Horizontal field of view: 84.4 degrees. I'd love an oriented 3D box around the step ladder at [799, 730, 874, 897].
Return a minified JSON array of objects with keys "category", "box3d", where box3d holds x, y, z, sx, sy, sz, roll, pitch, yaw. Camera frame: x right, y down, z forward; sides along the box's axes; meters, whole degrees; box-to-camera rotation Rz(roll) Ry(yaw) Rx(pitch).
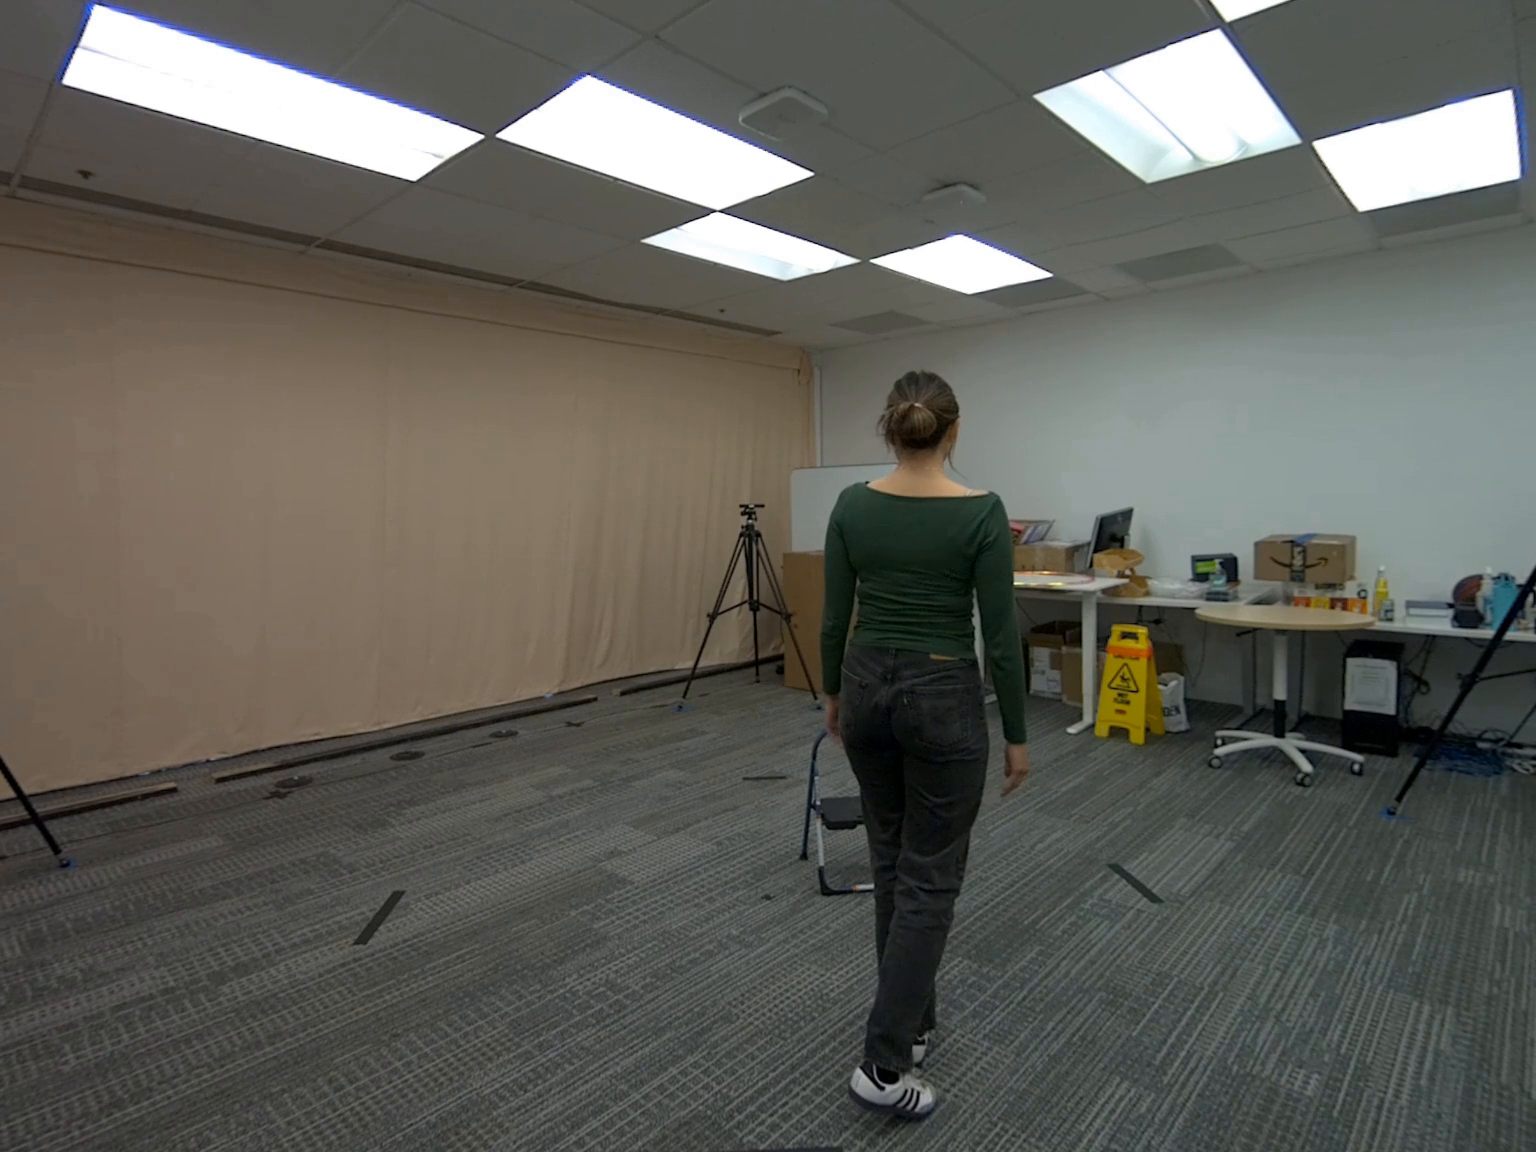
[{"category":"step ladder","box3d":[0.361,0.818,3.152,0.427,0.605,0.353,-1,4,-9]}]
